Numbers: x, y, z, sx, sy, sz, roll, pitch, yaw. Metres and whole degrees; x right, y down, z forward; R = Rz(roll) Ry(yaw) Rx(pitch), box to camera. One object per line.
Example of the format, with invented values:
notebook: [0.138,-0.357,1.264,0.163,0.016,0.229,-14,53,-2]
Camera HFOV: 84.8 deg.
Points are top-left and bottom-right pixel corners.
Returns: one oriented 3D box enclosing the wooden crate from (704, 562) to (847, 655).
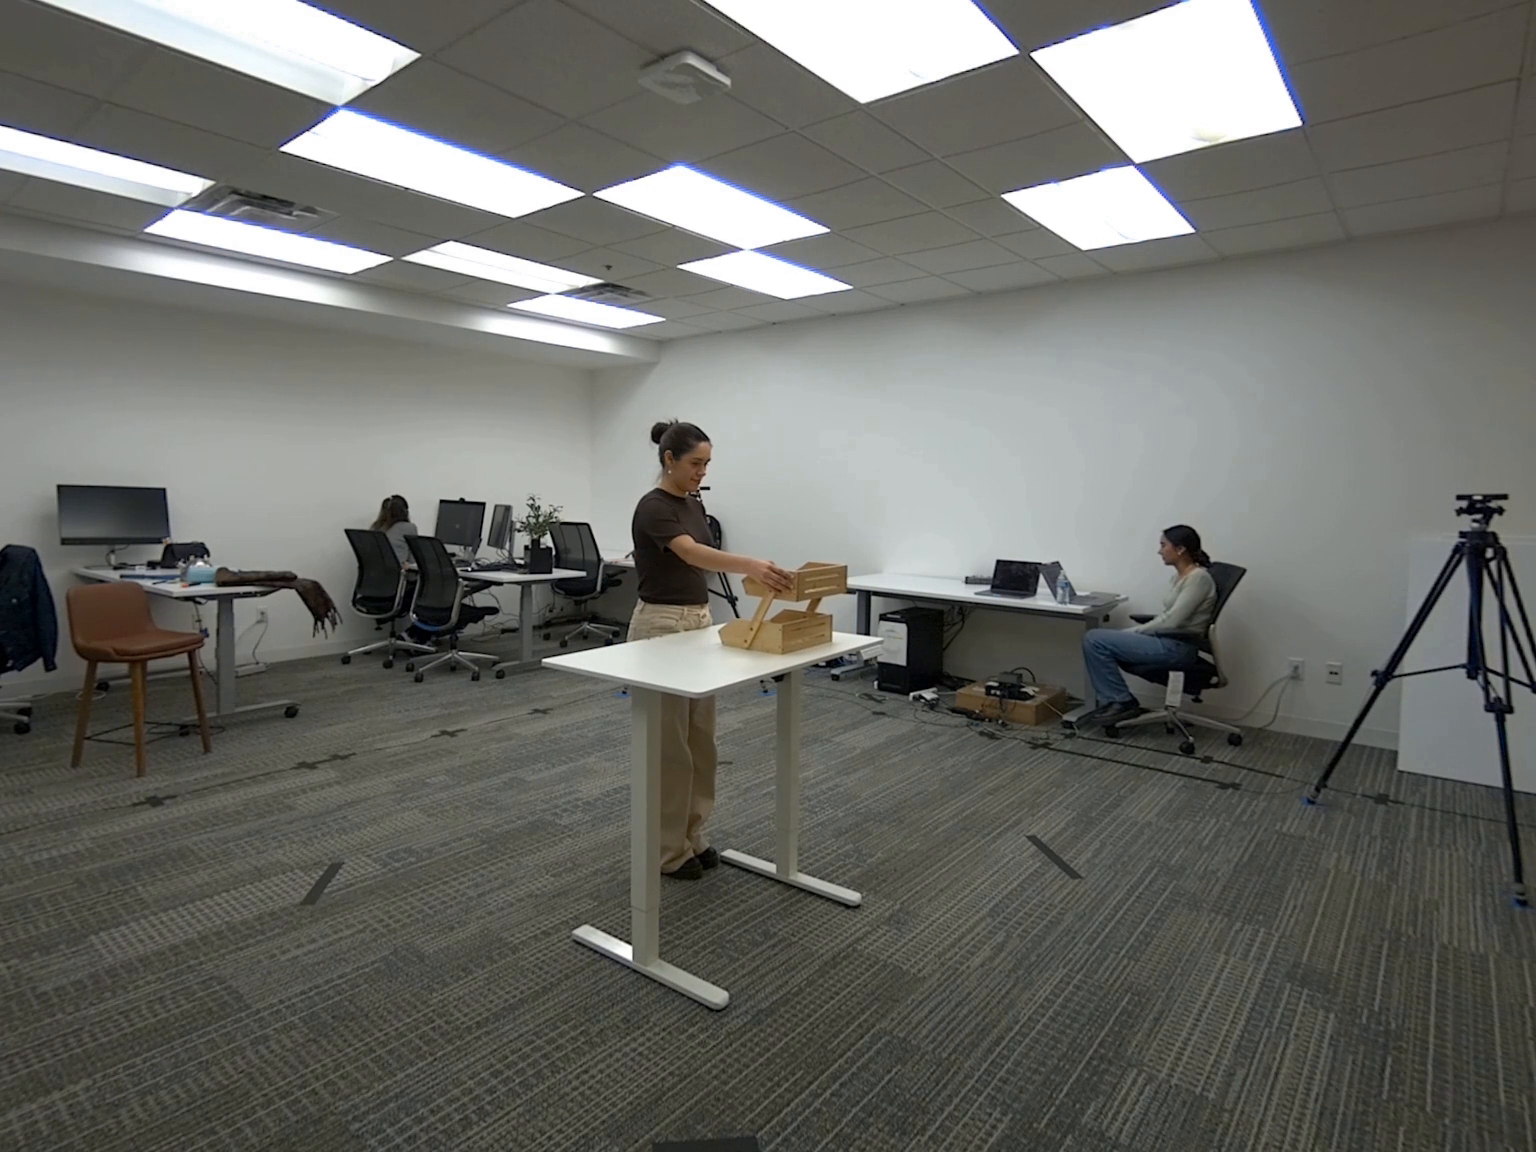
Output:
wooden crate: [0.038,0.089,2.764,0.312,0.272,0.315,6,7,36]
